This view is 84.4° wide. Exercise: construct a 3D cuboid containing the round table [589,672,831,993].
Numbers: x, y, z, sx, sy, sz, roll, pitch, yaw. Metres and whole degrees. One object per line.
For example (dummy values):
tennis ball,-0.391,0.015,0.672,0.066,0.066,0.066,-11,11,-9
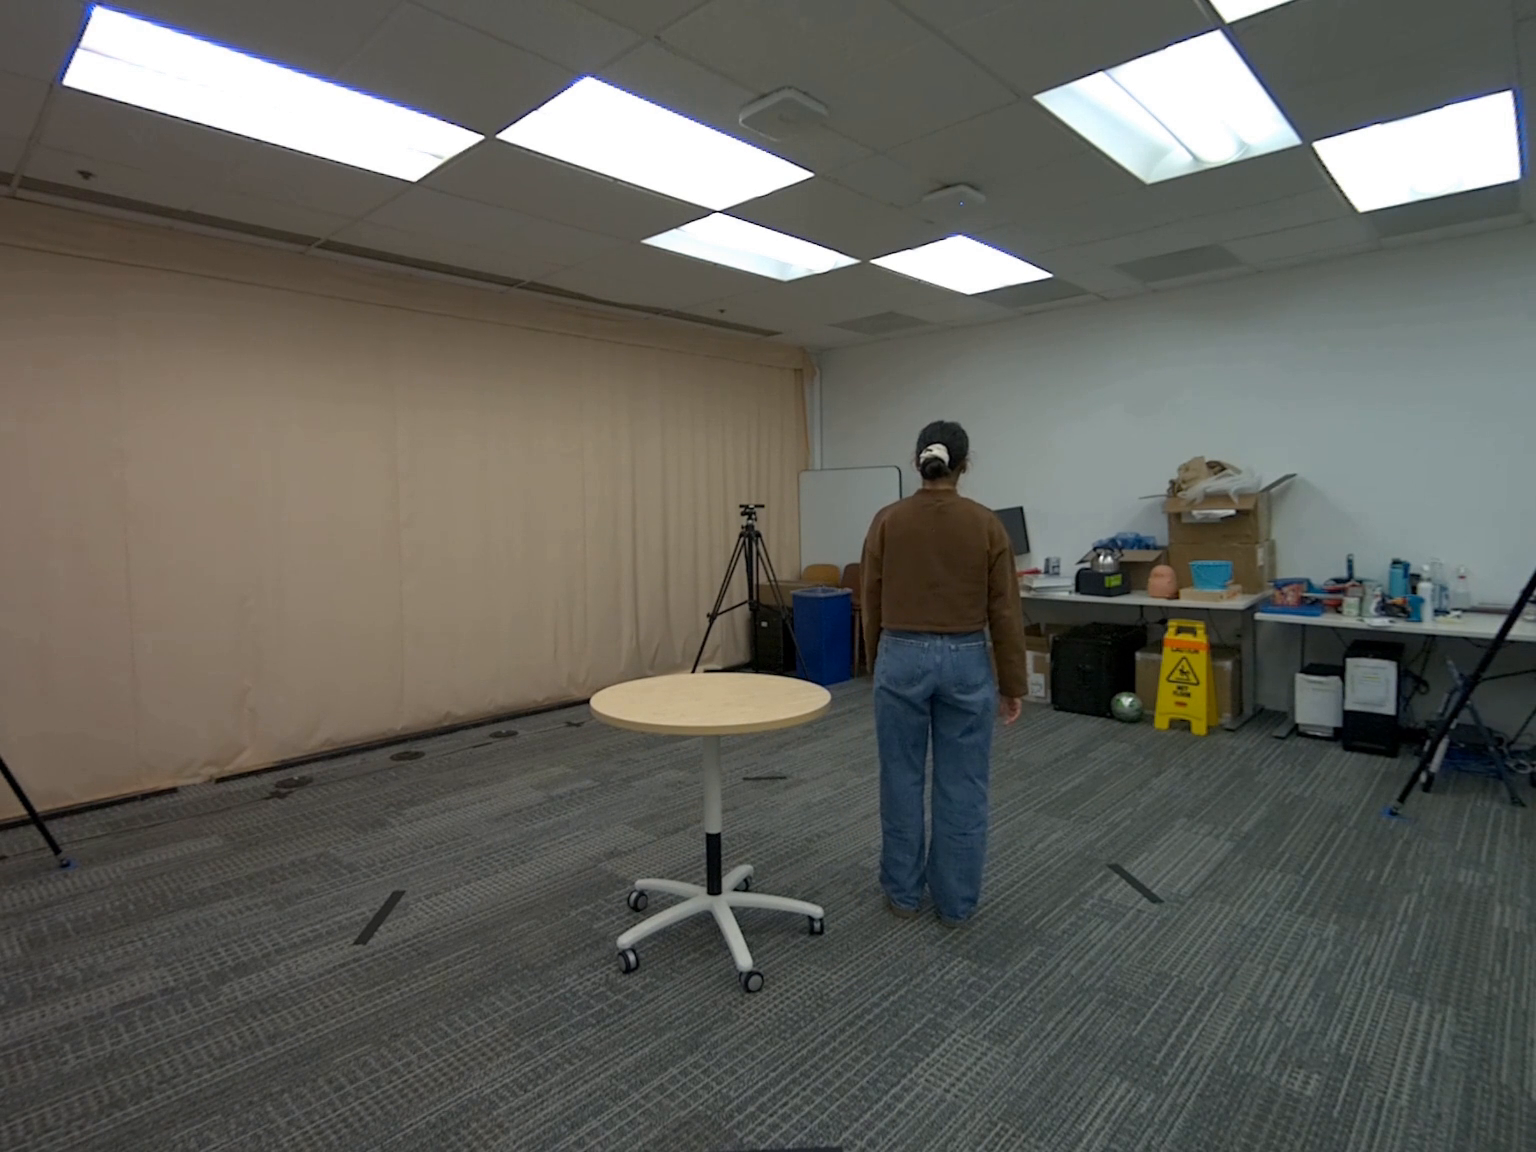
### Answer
round table,-0.172,0.781,2.709,0.763,0.792,0.766,-1,3,-2
